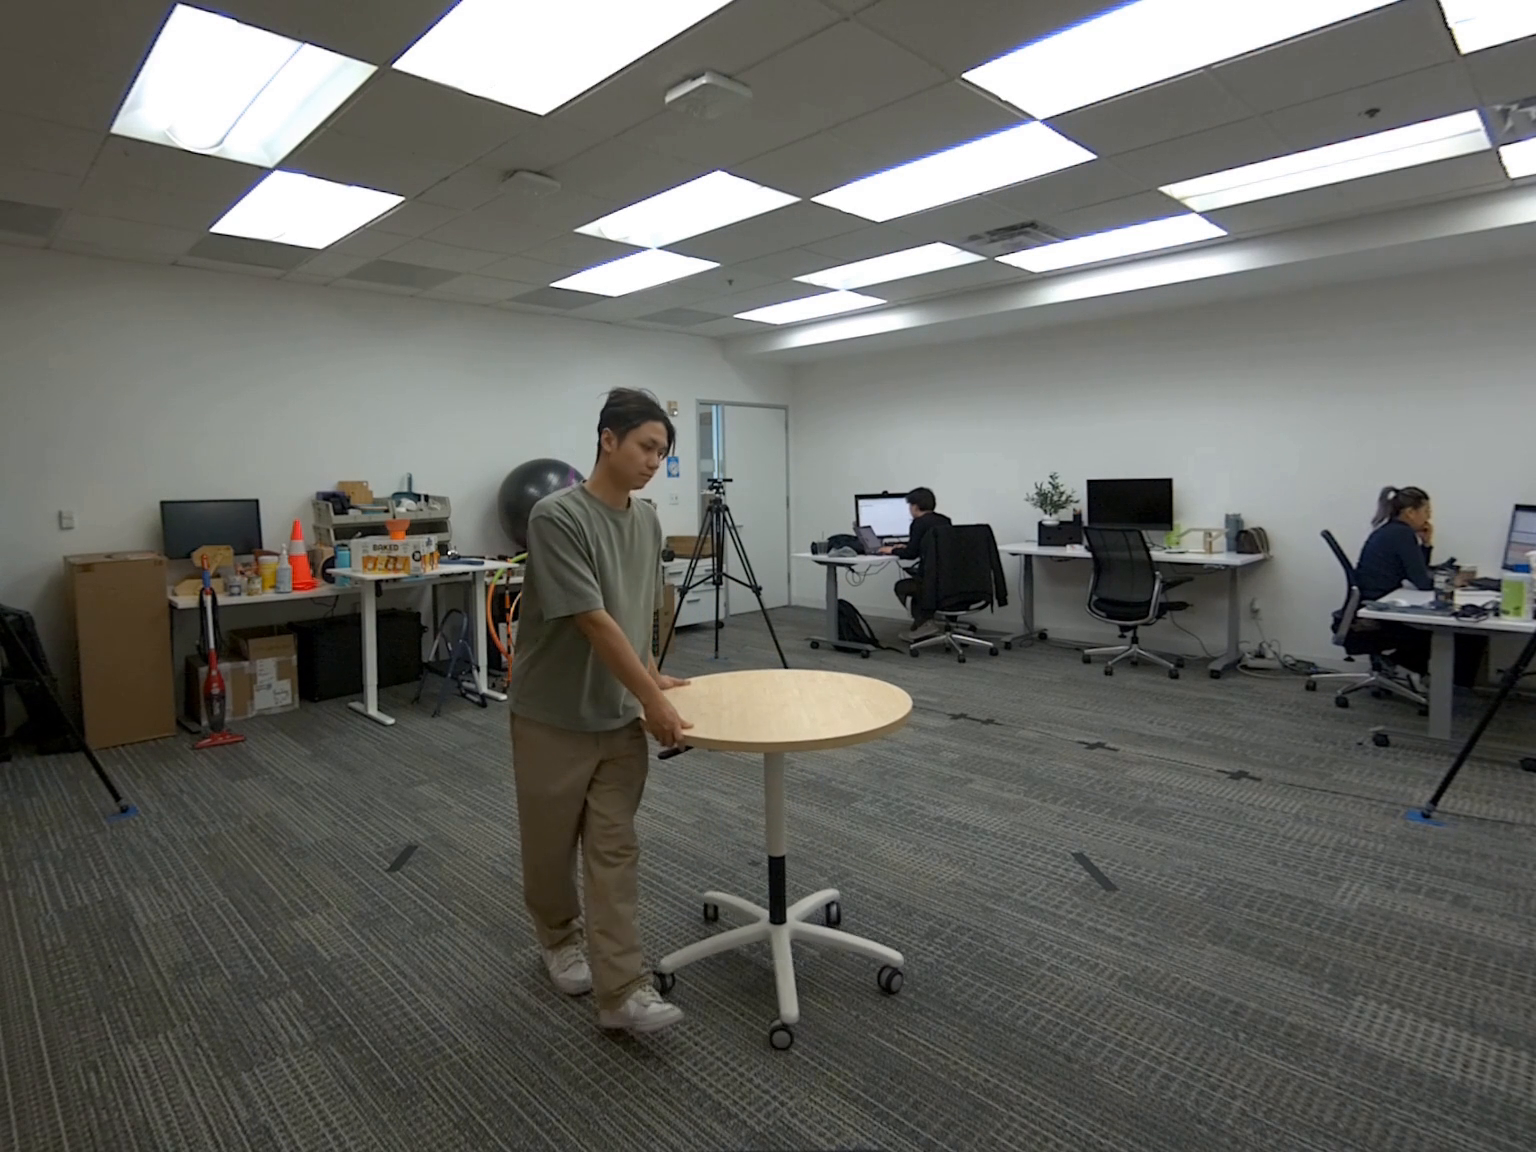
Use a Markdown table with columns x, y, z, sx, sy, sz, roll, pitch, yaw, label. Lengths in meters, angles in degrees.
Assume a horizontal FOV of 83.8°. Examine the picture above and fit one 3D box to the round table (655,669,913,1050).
| x | y | z | sx | sy | sz | roll | pitch | yaw | label |
| --- | --- | --- | --- | --- | --- | --- | --- | --- | --- |
| 0.035 | 0.731 | 2.415 | 0.785 | 0.783 | 0.789 | -2 | 5 | -1 | round table |
